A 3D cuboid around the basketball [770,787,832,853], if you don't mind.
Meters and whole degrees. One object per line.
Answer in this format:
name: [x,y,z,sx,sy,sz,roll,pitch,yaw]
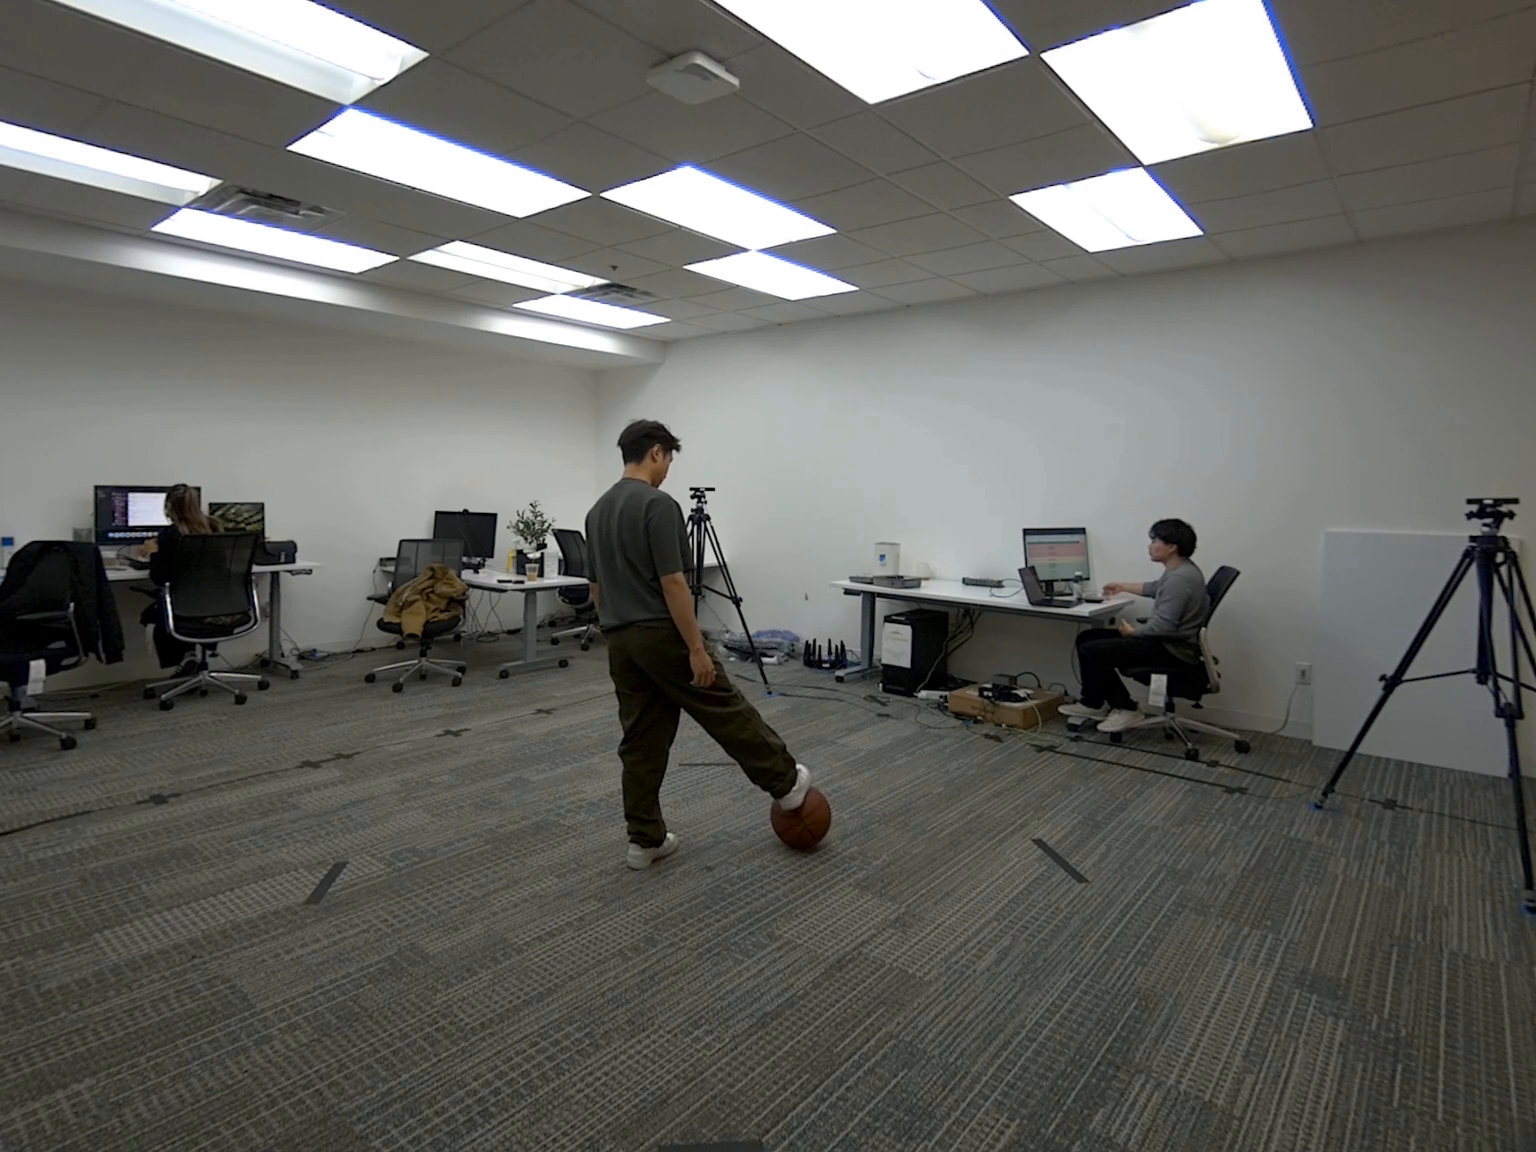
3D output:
basketball: [0.118,0.936,3.330,0.235,0.235,0.237,1,4,-2]
